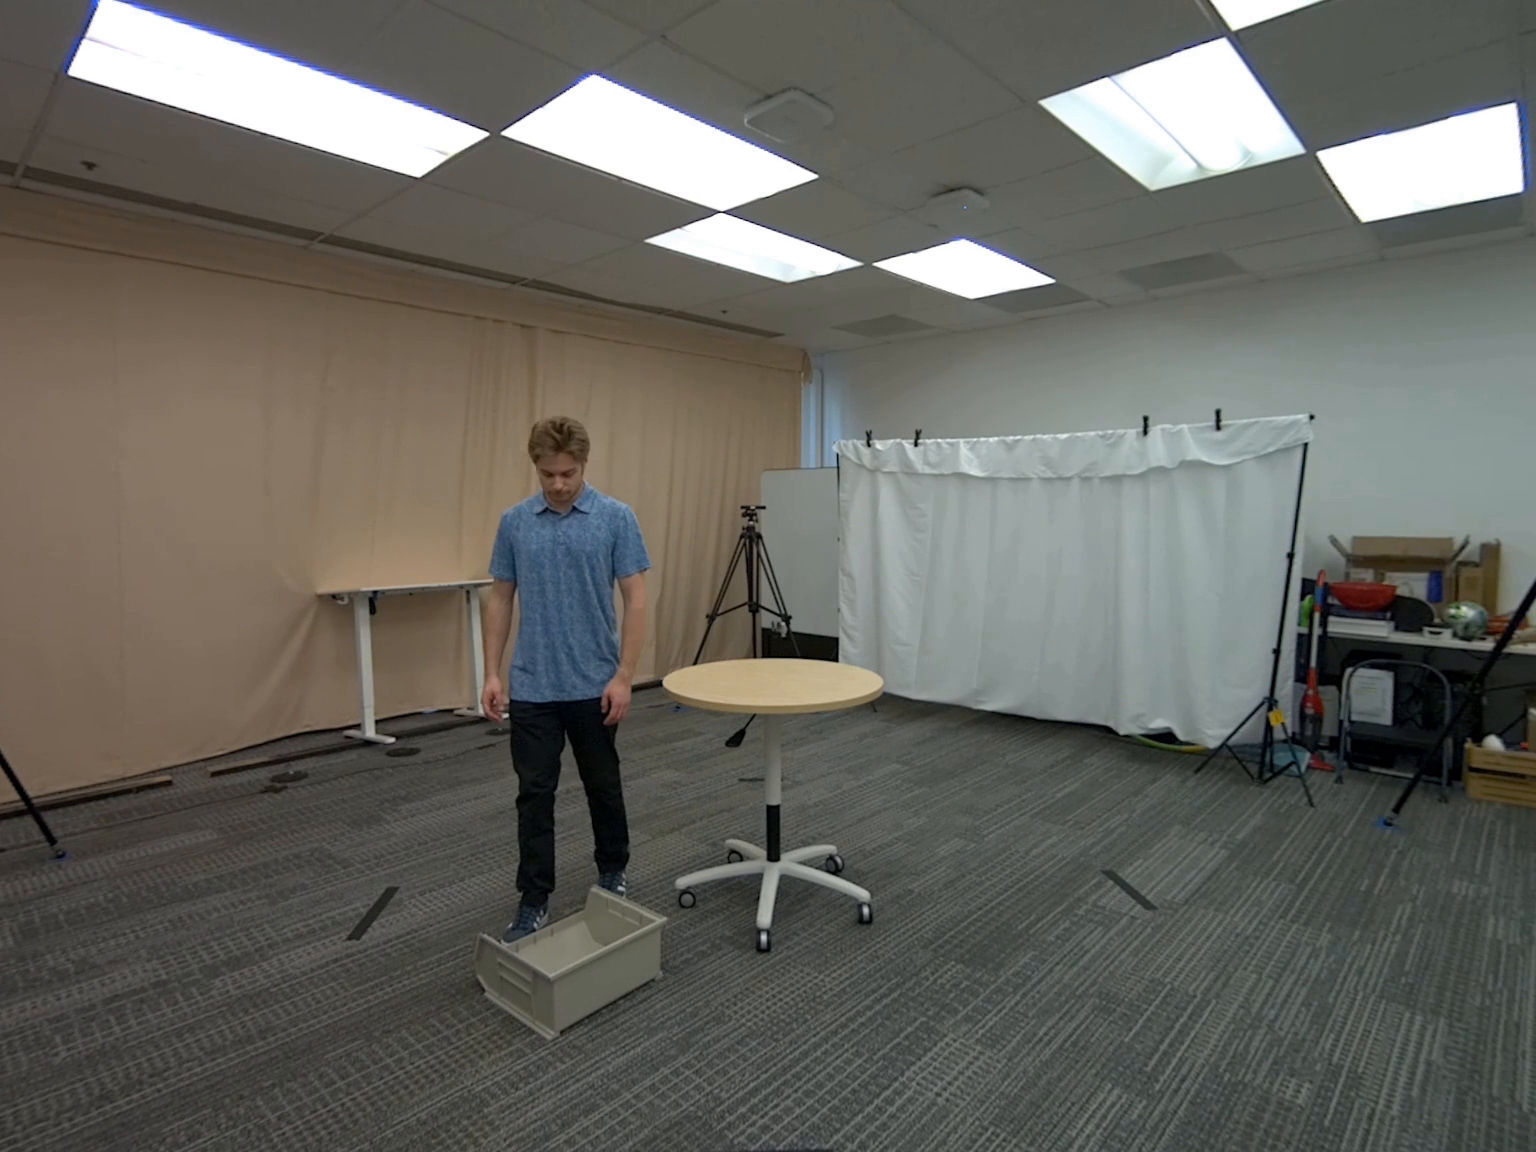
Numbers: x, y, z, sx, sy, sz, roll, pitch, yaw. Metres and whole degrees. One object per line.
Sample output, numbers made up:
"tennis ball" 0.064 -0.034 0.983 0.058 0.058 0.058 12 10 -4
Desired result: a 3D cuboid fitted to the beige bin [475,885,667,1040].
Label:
"beige bin" -0.571 1.105 2.453 0.390 0.188 0.409 4 5 40
